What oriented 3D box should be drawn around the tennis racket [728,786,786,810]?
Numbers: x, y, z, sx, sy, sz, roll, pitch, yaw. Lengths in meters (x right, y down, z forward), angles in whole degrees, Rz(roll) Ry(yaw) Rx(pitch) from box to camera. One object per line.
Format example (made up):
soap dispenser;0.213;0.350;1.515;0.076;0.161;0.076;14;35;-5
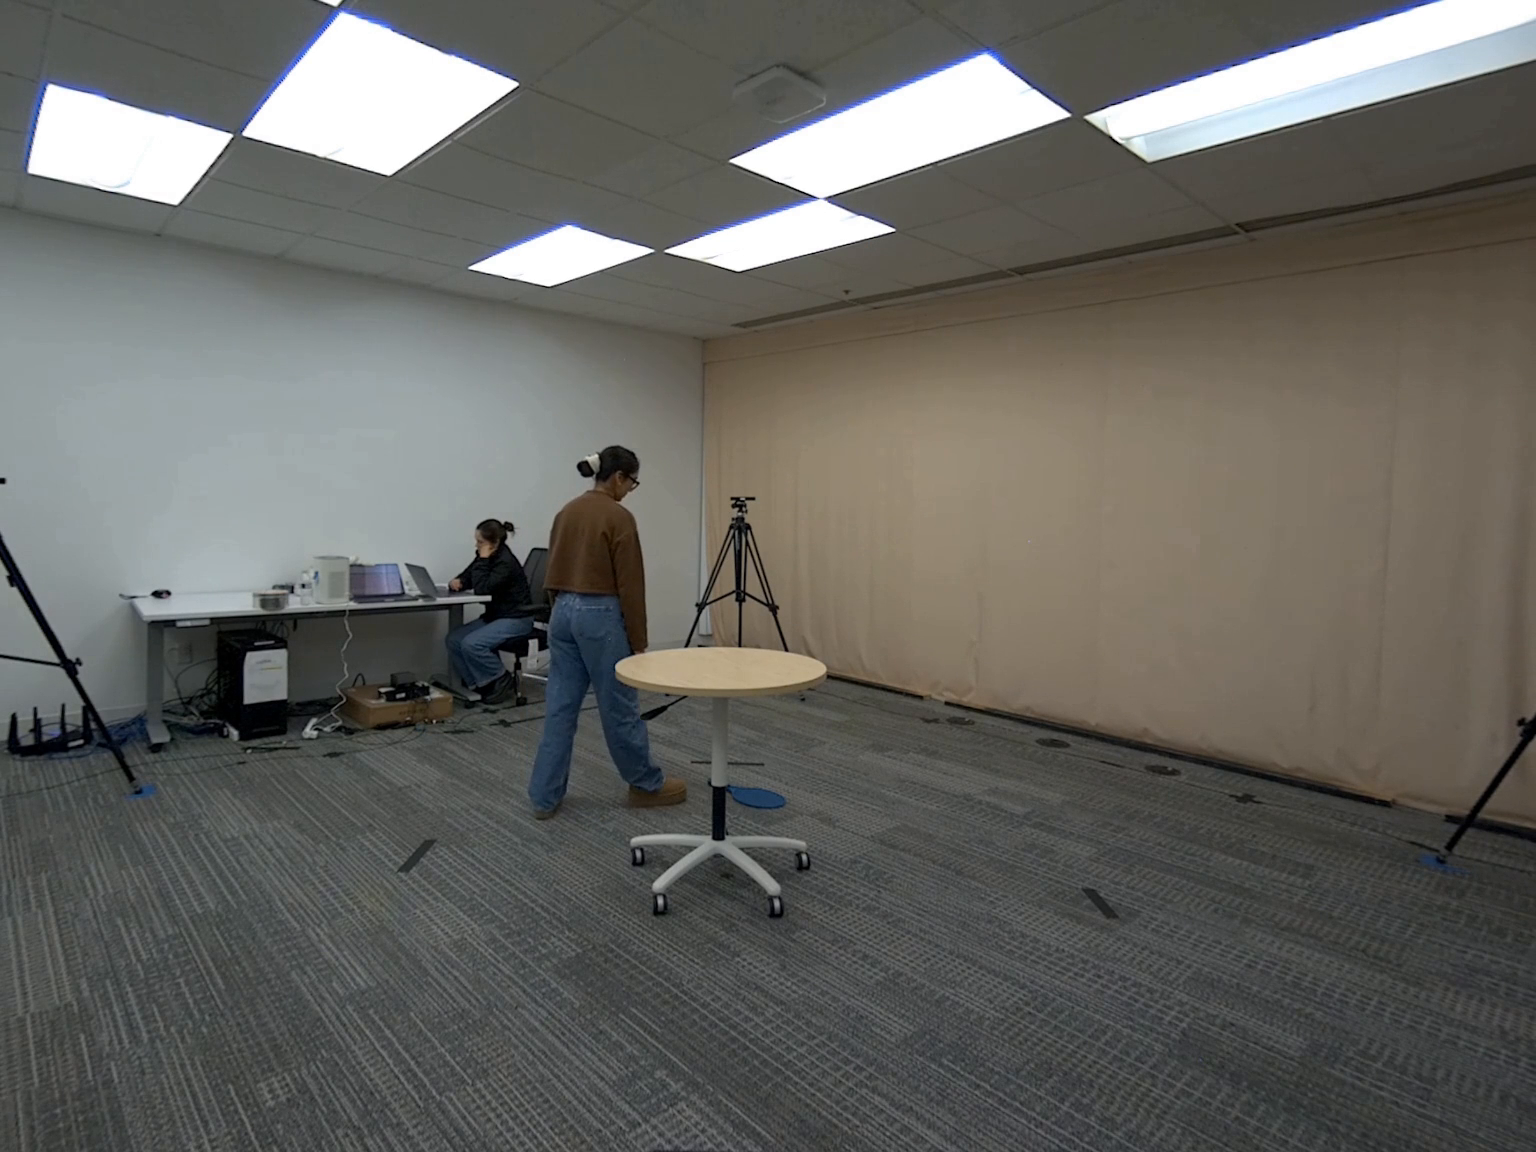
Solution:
tennis racket;-0.118;1.018;3.962;0.444;0.031;0.209;8;7;39
